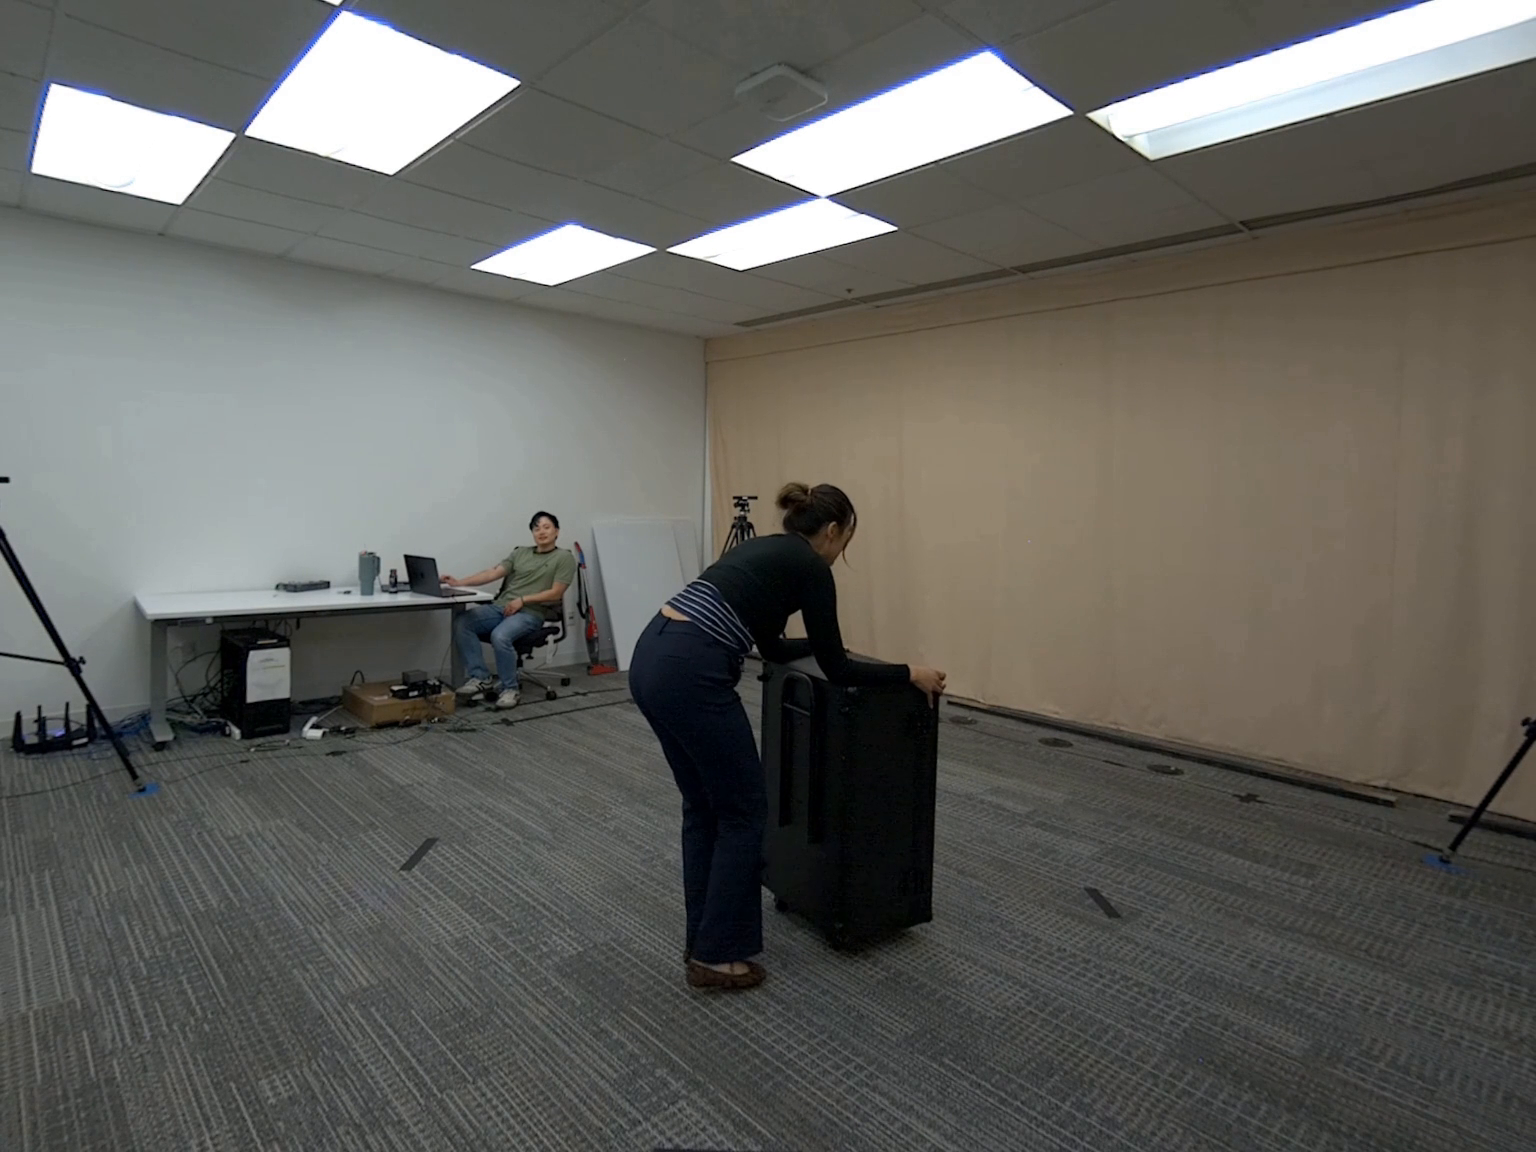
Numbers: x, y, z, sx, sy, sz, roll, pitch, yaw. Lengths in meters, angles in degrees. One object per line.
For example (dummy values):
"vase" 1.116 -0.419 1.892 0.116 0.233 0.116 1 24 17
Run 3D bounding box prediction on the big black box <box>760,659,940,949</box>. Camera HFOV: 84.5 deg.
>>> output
"big black box" 0.241 0.721 2.739 0.388 0.858 0.534 -3 6 -32
